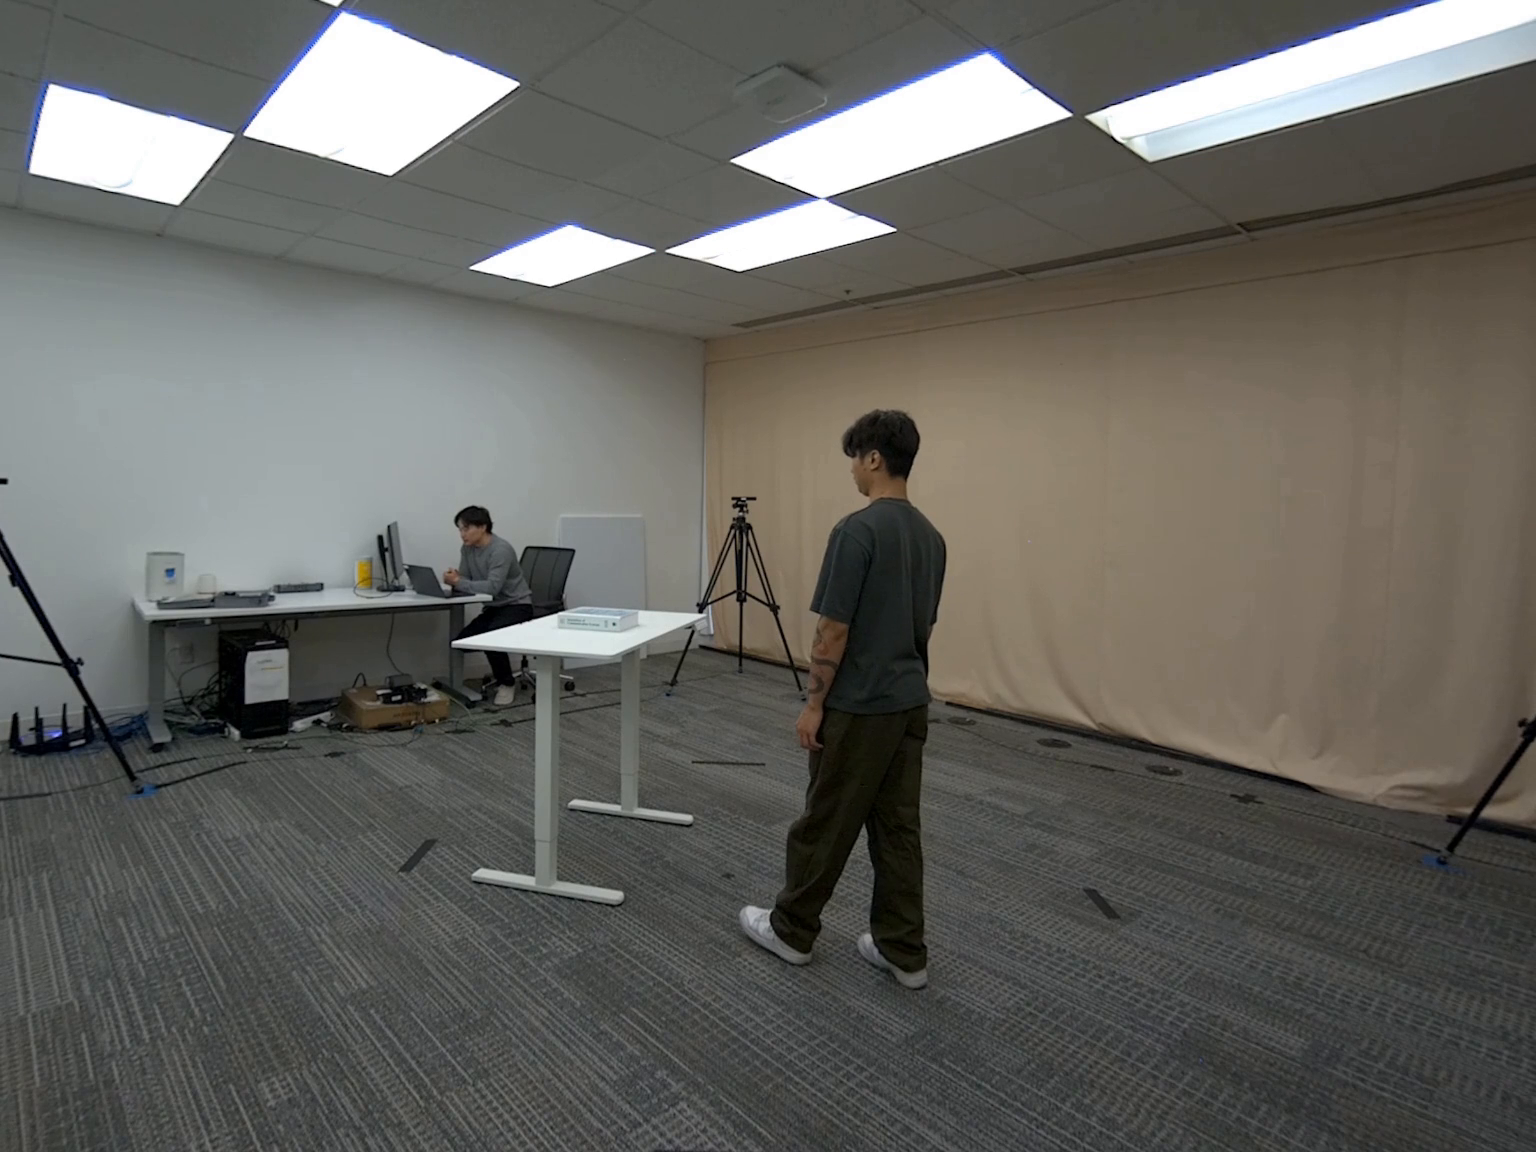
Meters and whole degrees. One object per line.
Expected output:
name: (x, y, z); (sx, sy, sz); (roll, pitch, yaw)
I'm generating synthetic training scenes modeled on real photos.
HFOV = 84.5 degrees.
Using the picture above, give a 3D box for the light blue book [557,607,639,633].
light blue book: (-0.670, 0.170, 3.271); (0.264, 0.059, 0.190); (3, 5, 14)
